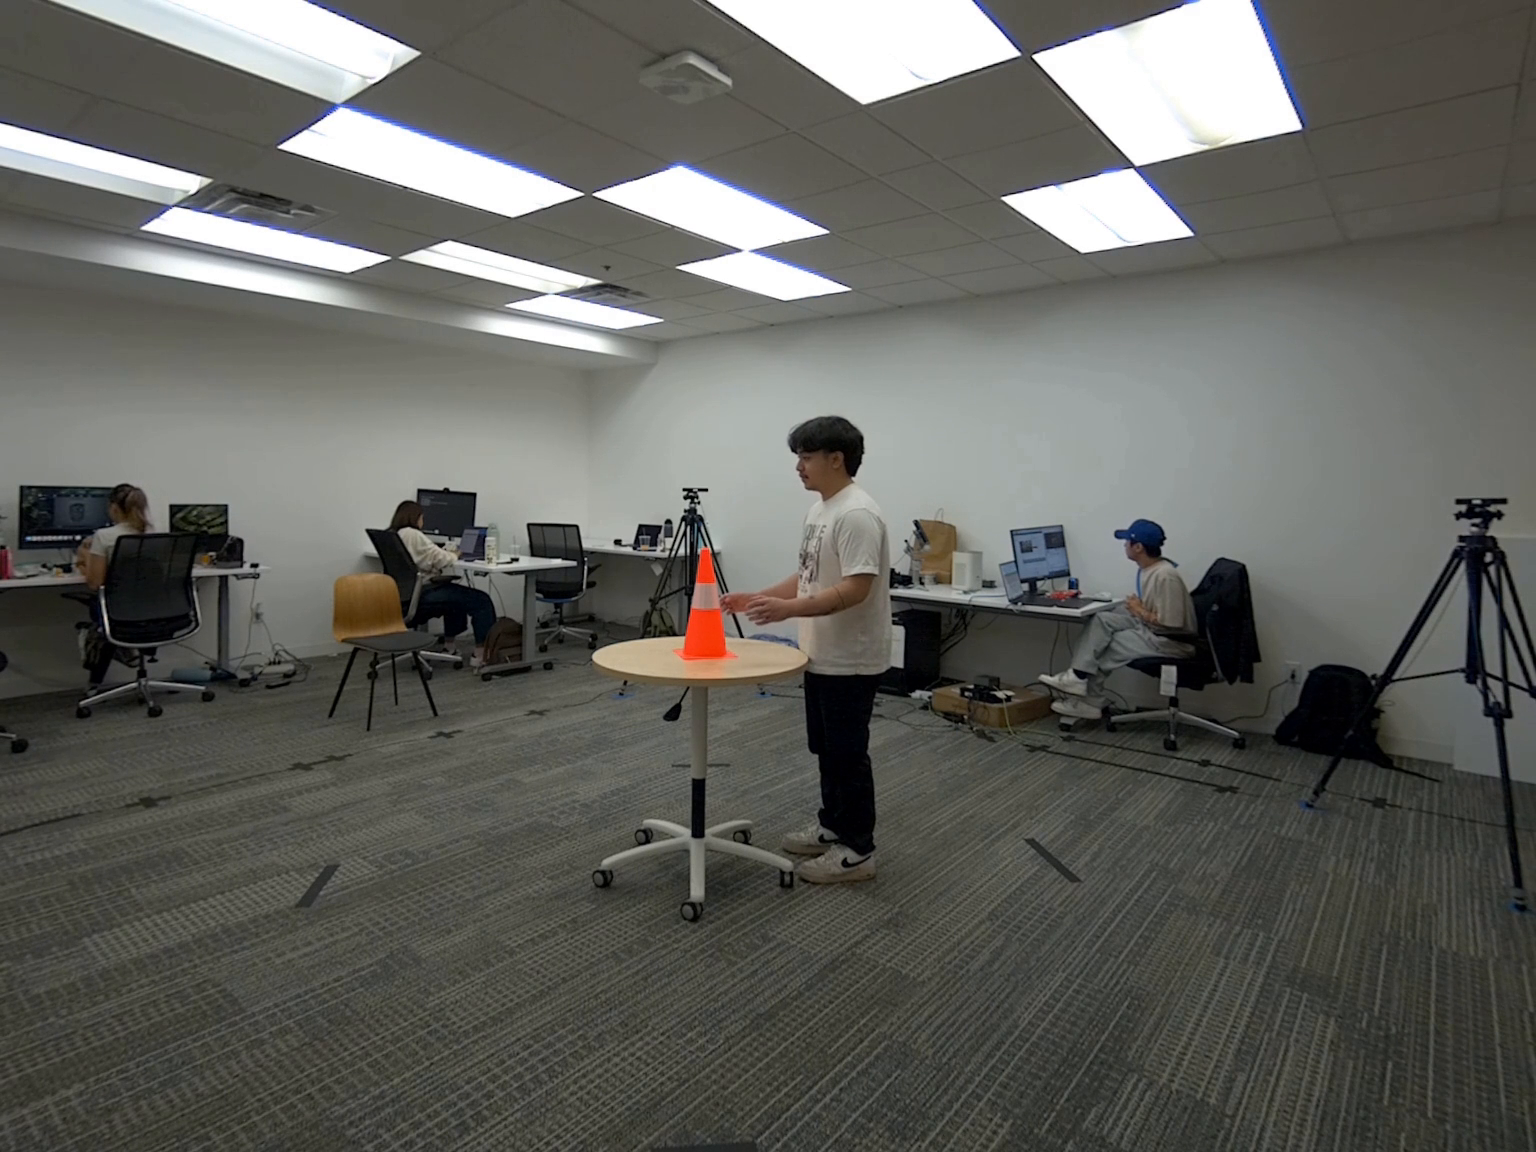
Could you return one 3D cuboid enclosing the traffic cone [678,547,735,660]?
[{"bbox_3d":[-0.234,0.090,3.046,0.209,0.382,0.200,2,5,31],"label":"traffic cone"}]
